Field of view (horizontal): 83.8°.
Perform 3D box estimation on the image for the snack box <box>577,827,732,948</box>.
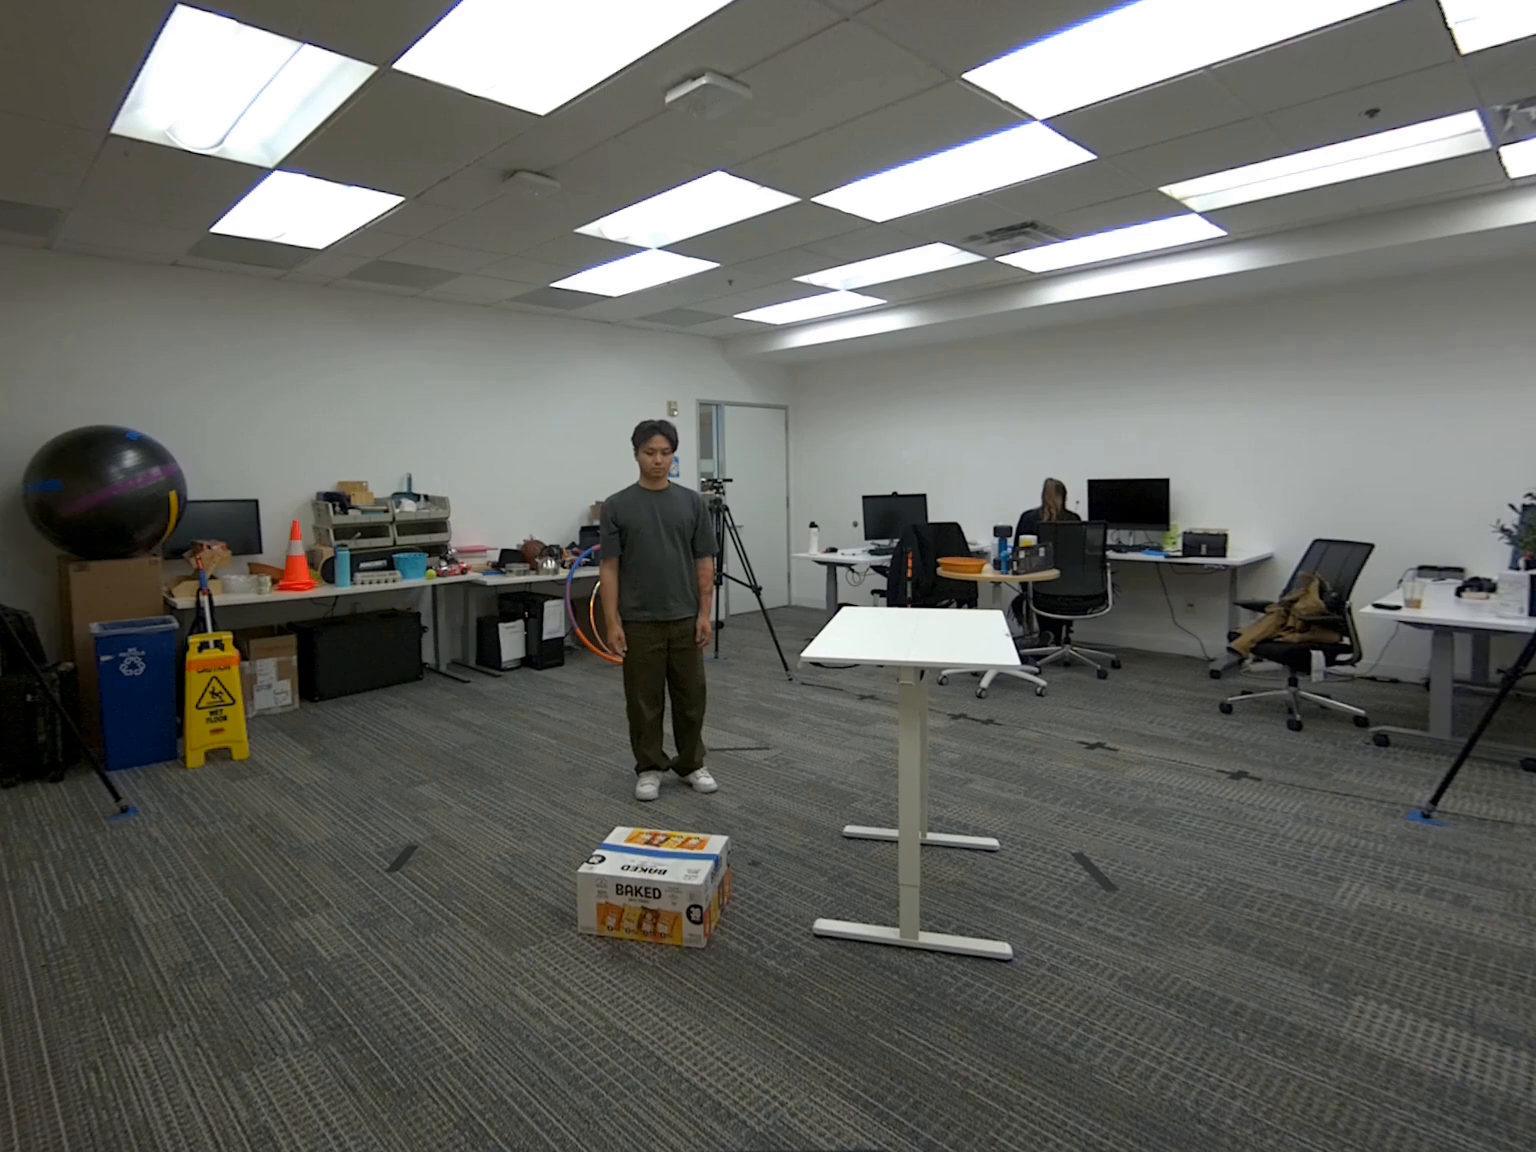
[{"bbox_3d":[-0.358,0.993,2.748,0.410,0.205,0.337,1,6,13],"label":"snack box"}]
